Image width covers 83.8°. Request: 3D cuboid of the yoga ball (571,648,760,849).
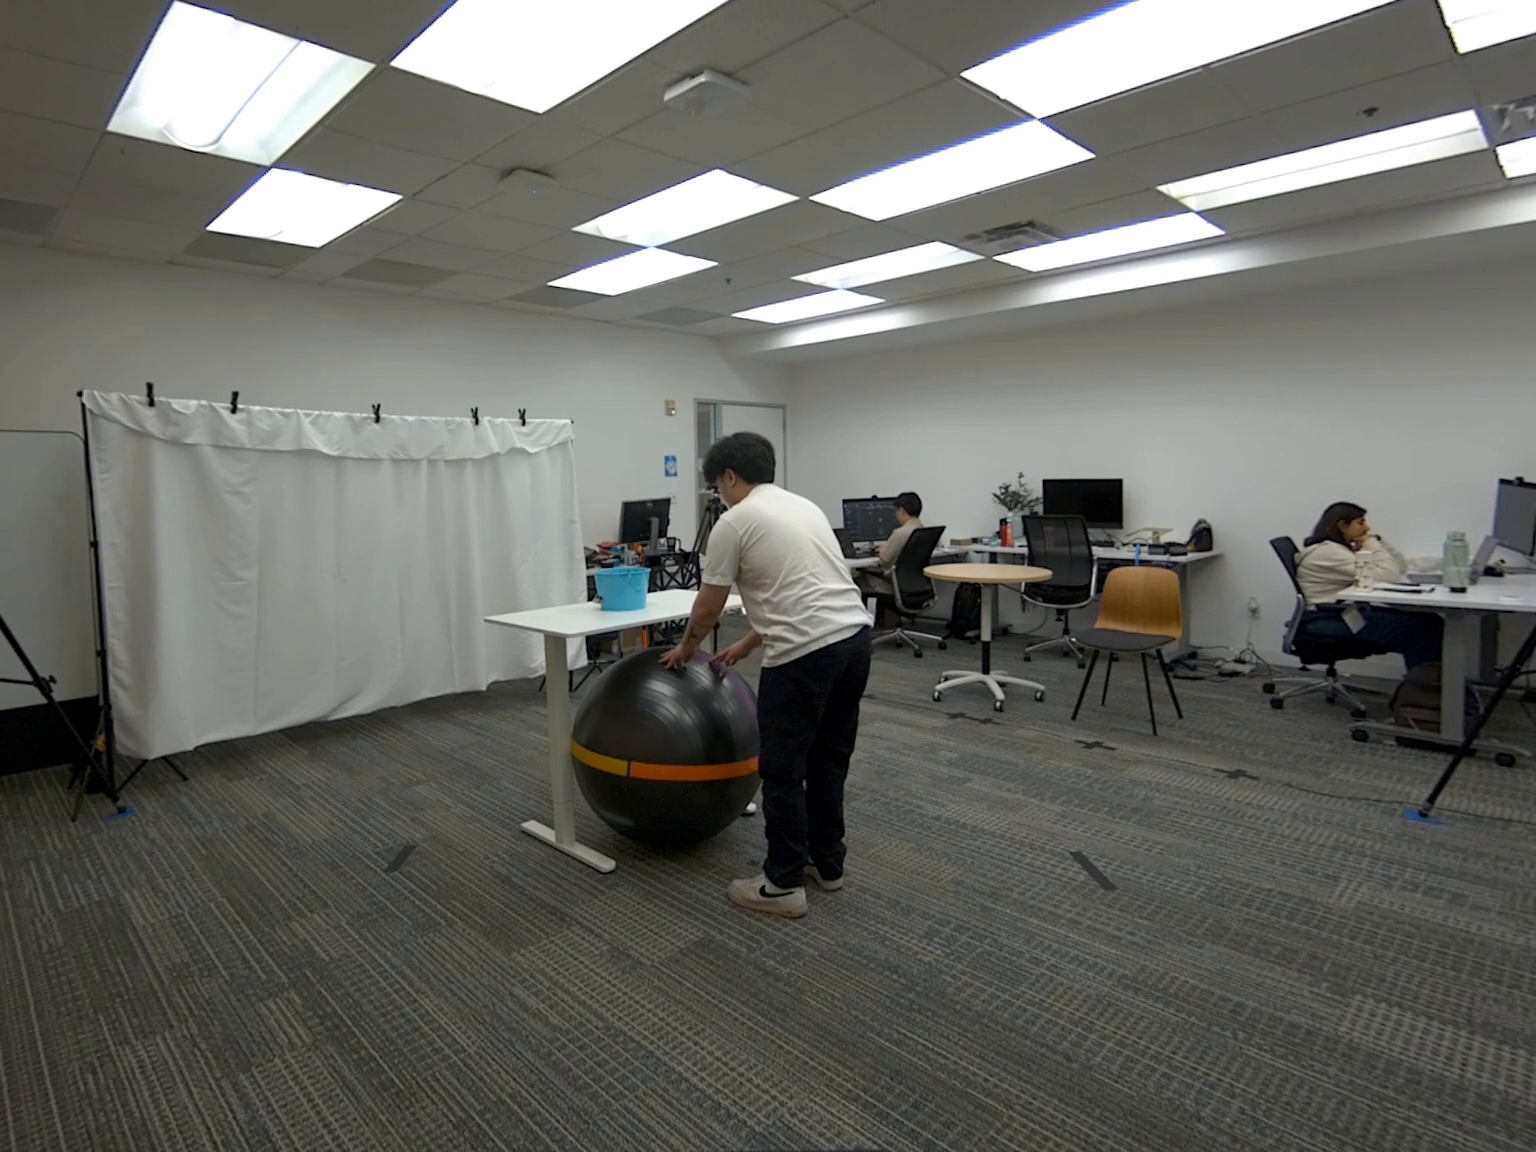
[{"bbox_3d":[-0.383,0.658,3.317,0.757,0.755,0.762,-1,5,-2],"label":"yoga ball"}]
